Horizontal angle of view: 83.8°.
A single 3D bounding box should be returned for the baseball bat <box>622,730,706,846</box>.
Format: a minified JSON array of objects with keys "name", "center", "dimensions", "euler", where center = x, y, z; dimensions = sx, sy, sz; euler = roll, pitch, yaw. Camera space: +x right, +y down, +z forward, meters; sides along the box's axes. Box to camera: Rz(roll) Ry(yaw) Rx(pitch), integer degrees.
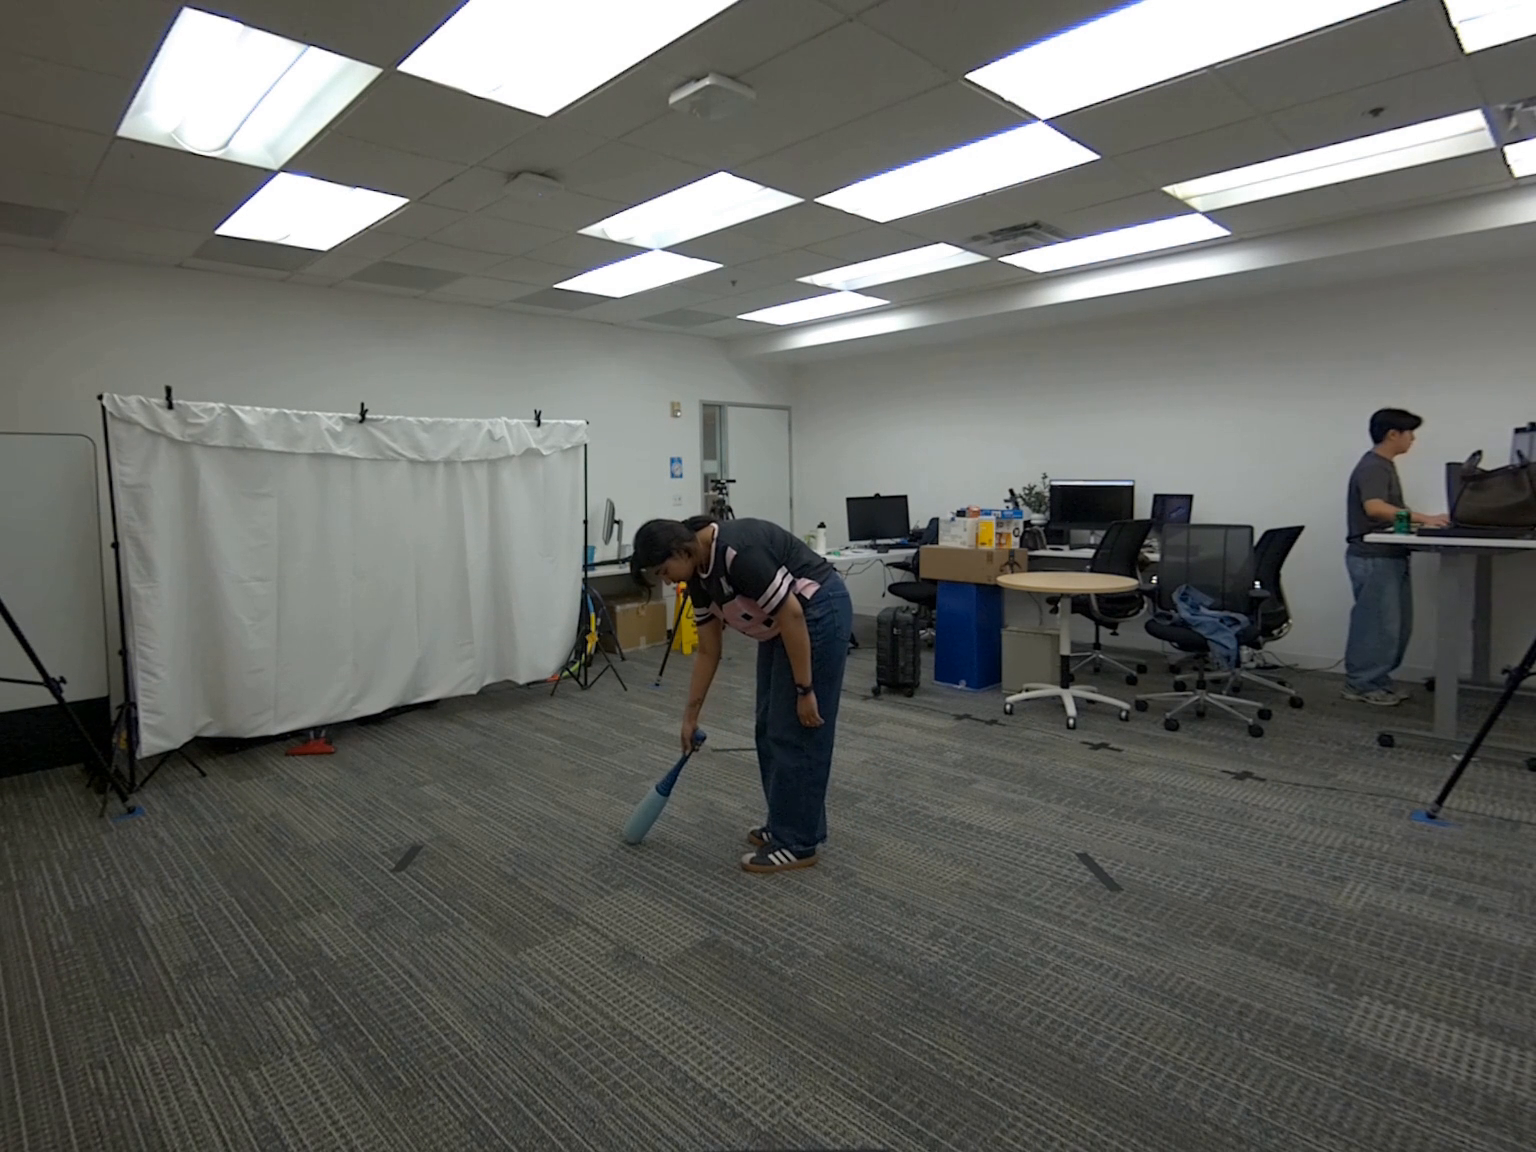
[{"name":"baseball bat","center":[-0.378,0.806,3.244],"dimensions":[0.088,0.541,0.091],"euler":[32,16,-12]}]
